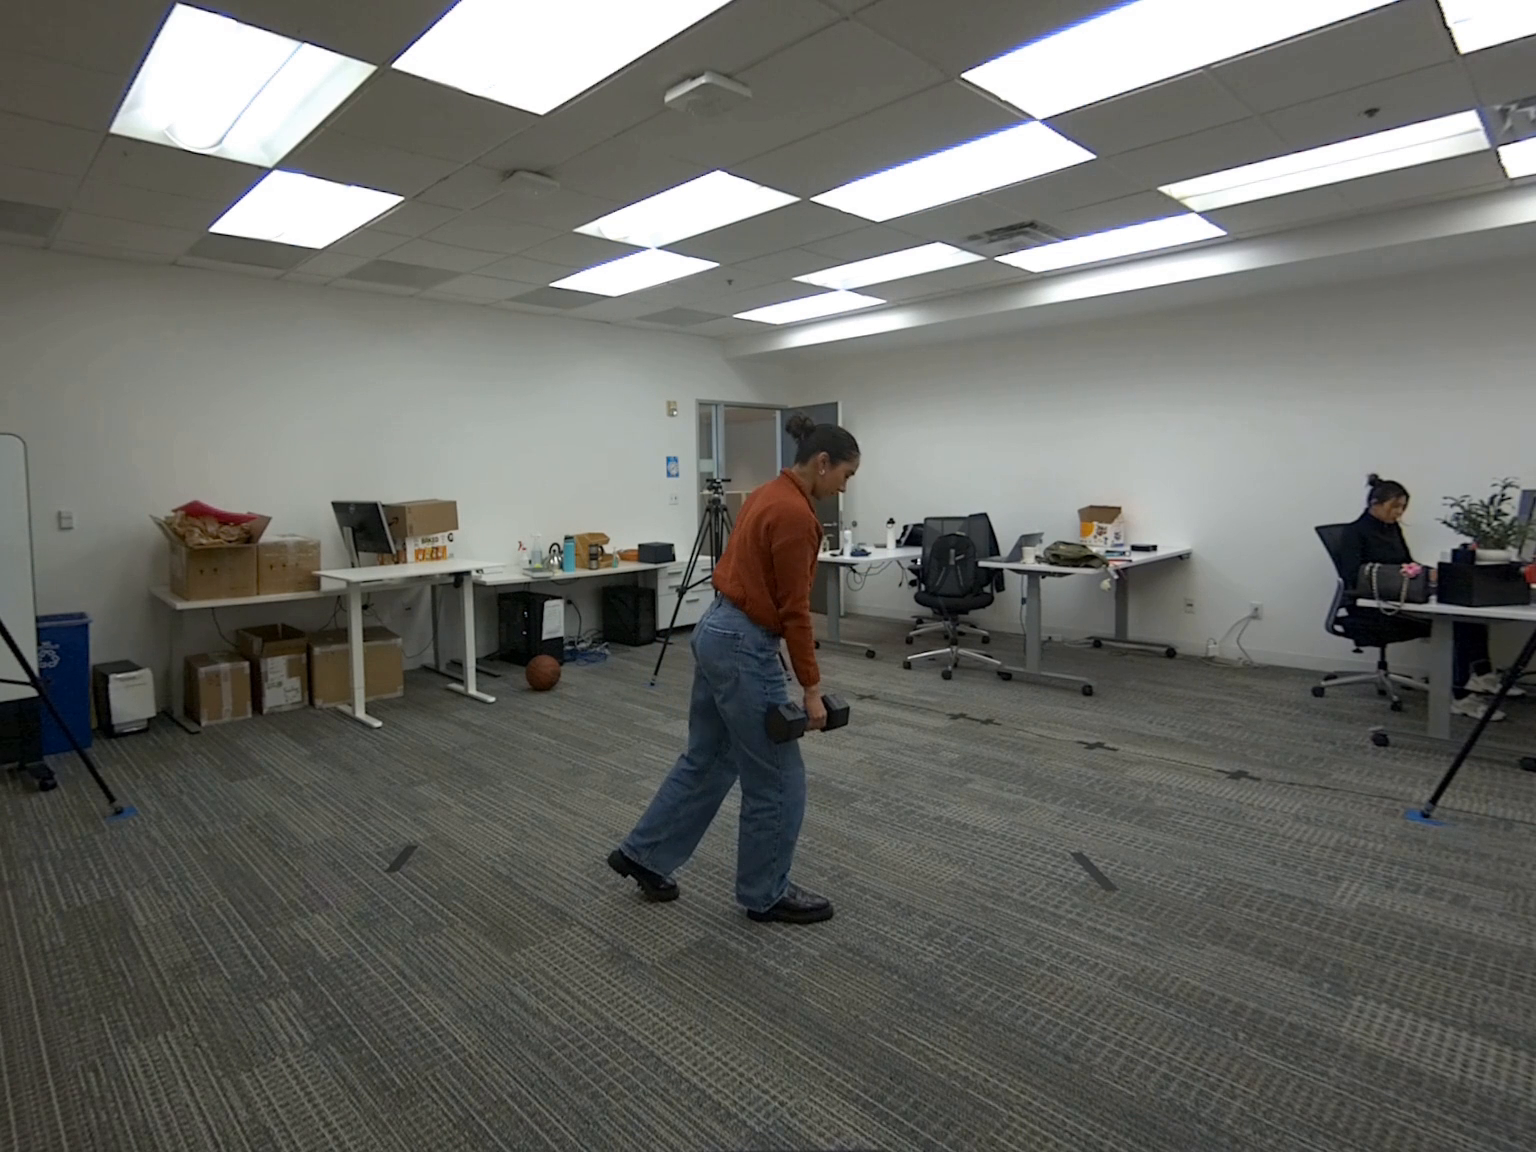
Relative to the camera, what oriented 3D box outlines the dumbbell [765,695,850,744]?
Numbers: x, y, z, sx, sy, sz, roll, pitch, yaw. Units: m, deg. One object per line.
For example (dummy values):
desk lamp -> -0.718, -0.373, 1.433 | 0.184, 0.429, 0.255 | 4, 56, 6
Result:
dumbbell -> 0.122, 0.439, 2.603 | 0.285, 0.122, 0.112 | -4, 12, -44
